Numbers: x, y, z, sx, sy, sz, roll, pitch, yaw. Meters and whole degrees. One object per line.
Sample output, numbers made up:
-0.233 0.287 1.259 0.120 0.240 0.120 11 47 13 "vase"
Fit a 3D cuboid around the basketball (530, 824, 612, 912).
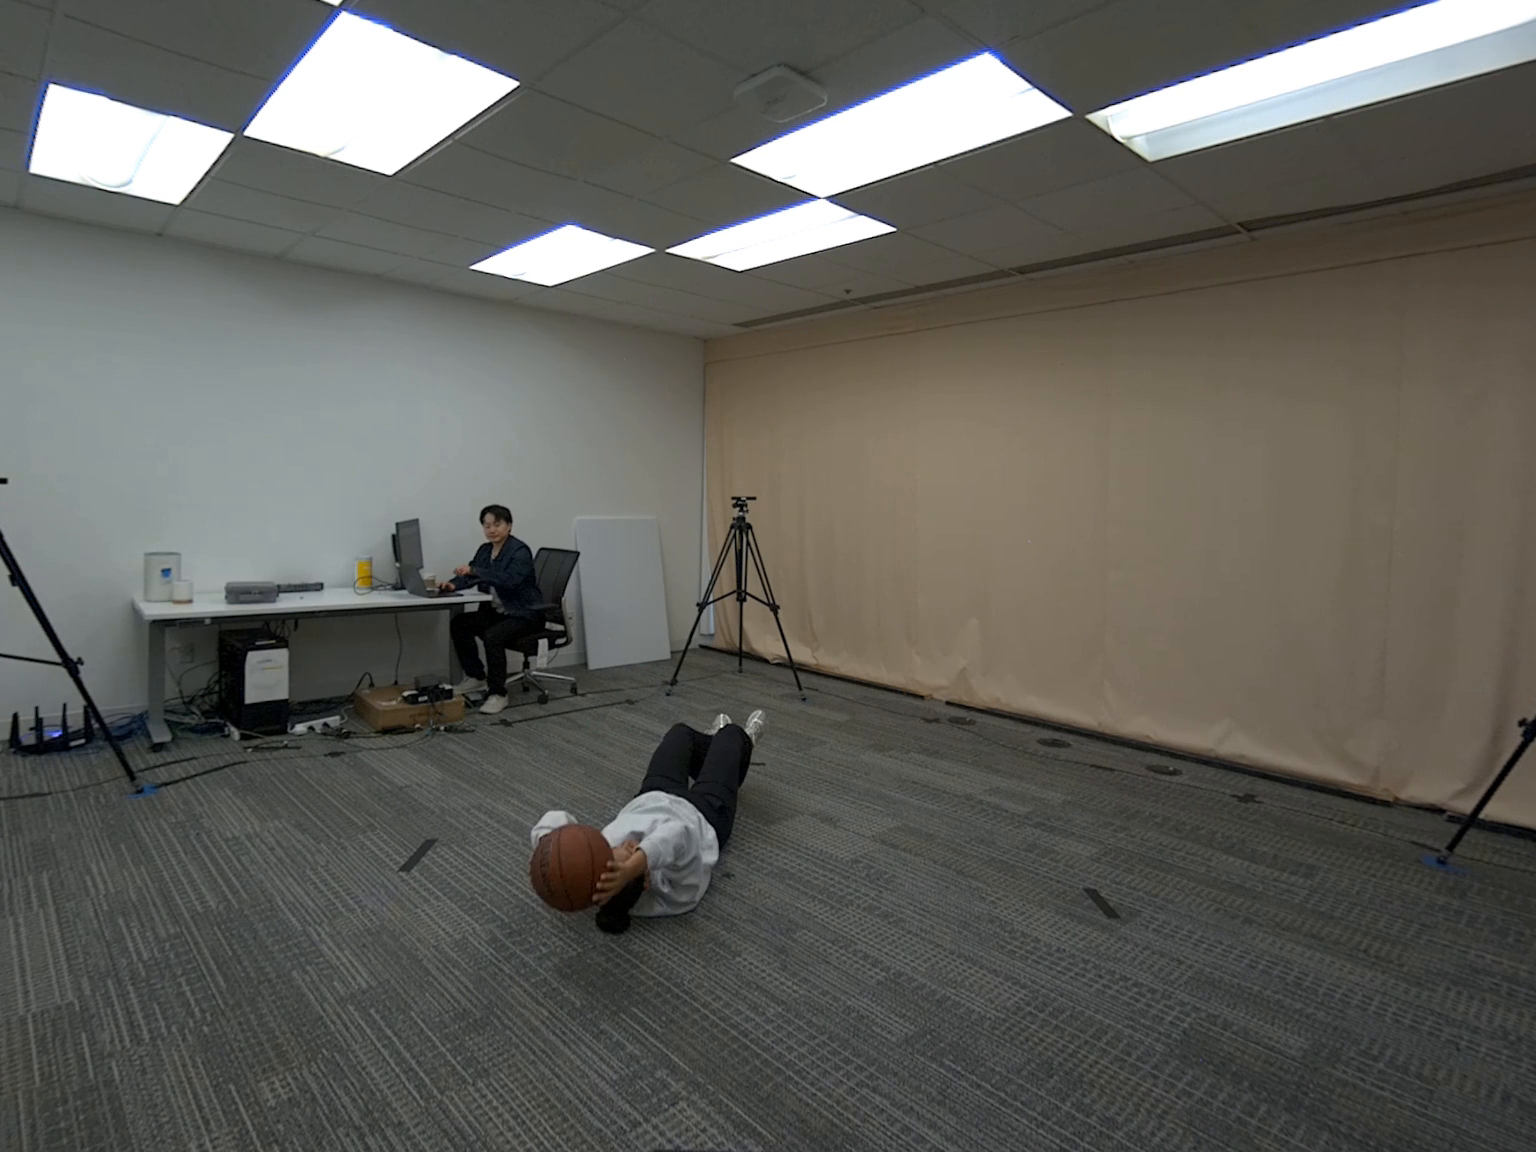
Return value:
-0.562 0.828 2.437 0.236 0.235 0.237 1 5 -1 "basketball"
